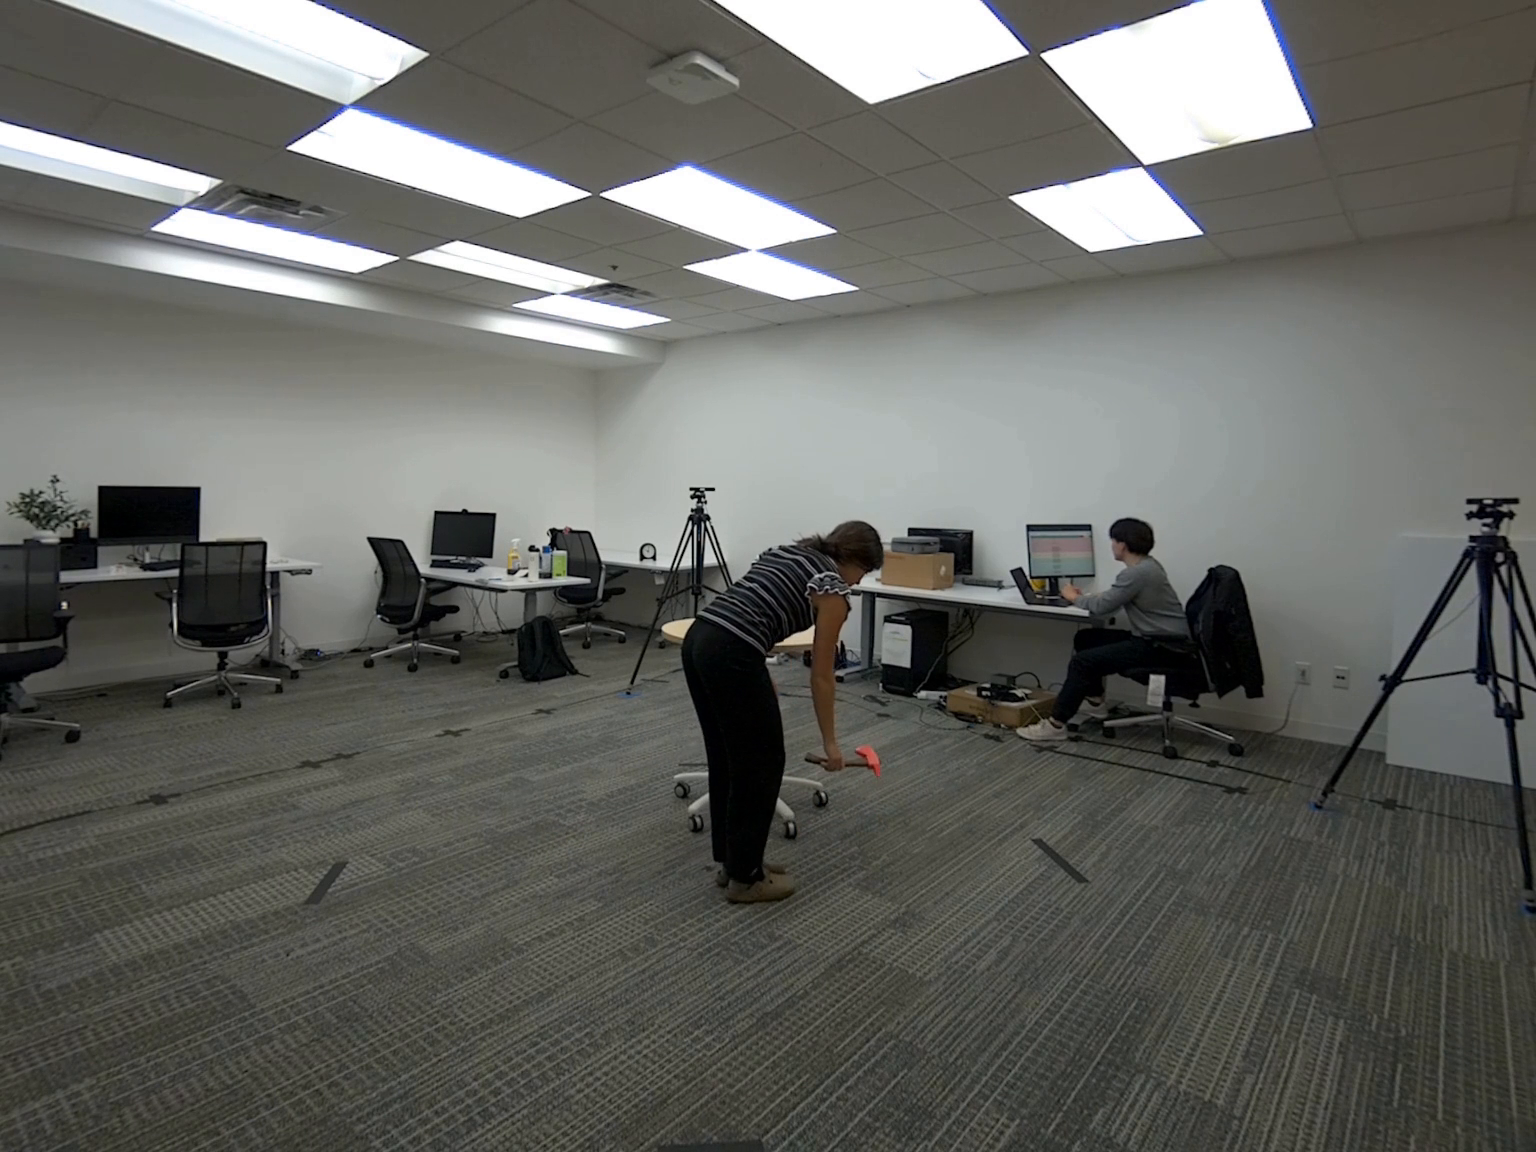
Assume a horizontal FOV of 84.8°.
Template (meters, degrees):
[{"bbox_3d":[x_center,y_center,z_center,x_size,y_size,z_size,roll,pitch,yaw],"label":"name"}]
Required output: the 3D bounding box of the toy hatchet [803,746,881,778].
[{"bbox_3d":[0.261,0.640,3.023,0.272,0.029,0.133,15,39,6],"label":"toy hatchet"}]
